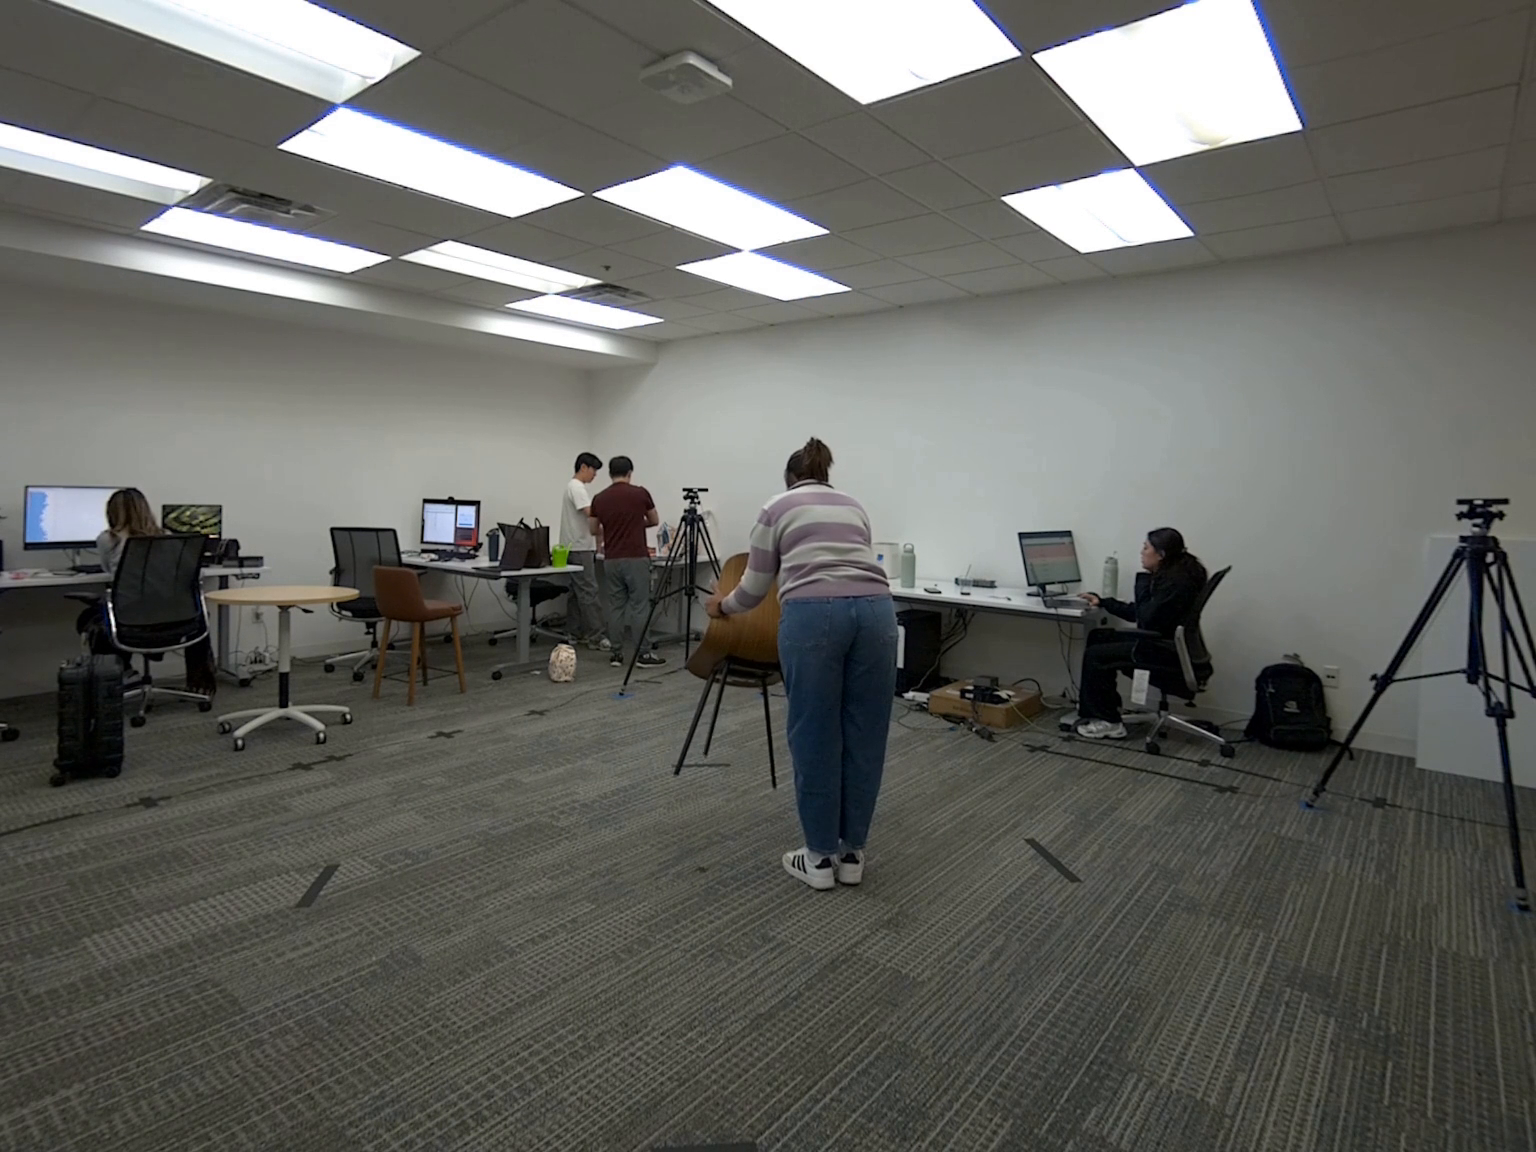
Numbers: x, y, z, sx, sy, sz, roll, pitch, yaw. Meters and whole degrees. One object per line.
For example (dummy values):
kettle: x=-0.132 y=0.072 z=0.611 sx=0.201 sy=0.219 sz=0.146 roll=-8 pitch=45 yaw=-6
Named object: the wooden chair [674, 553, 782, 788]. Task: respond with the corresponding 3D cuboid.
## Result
wooden chair: x=-0.096 y=0.400 z=3.578 sx=0.470 sy=0.894 sz=0.522 roll=10 pitch=-23 yaw=-15
